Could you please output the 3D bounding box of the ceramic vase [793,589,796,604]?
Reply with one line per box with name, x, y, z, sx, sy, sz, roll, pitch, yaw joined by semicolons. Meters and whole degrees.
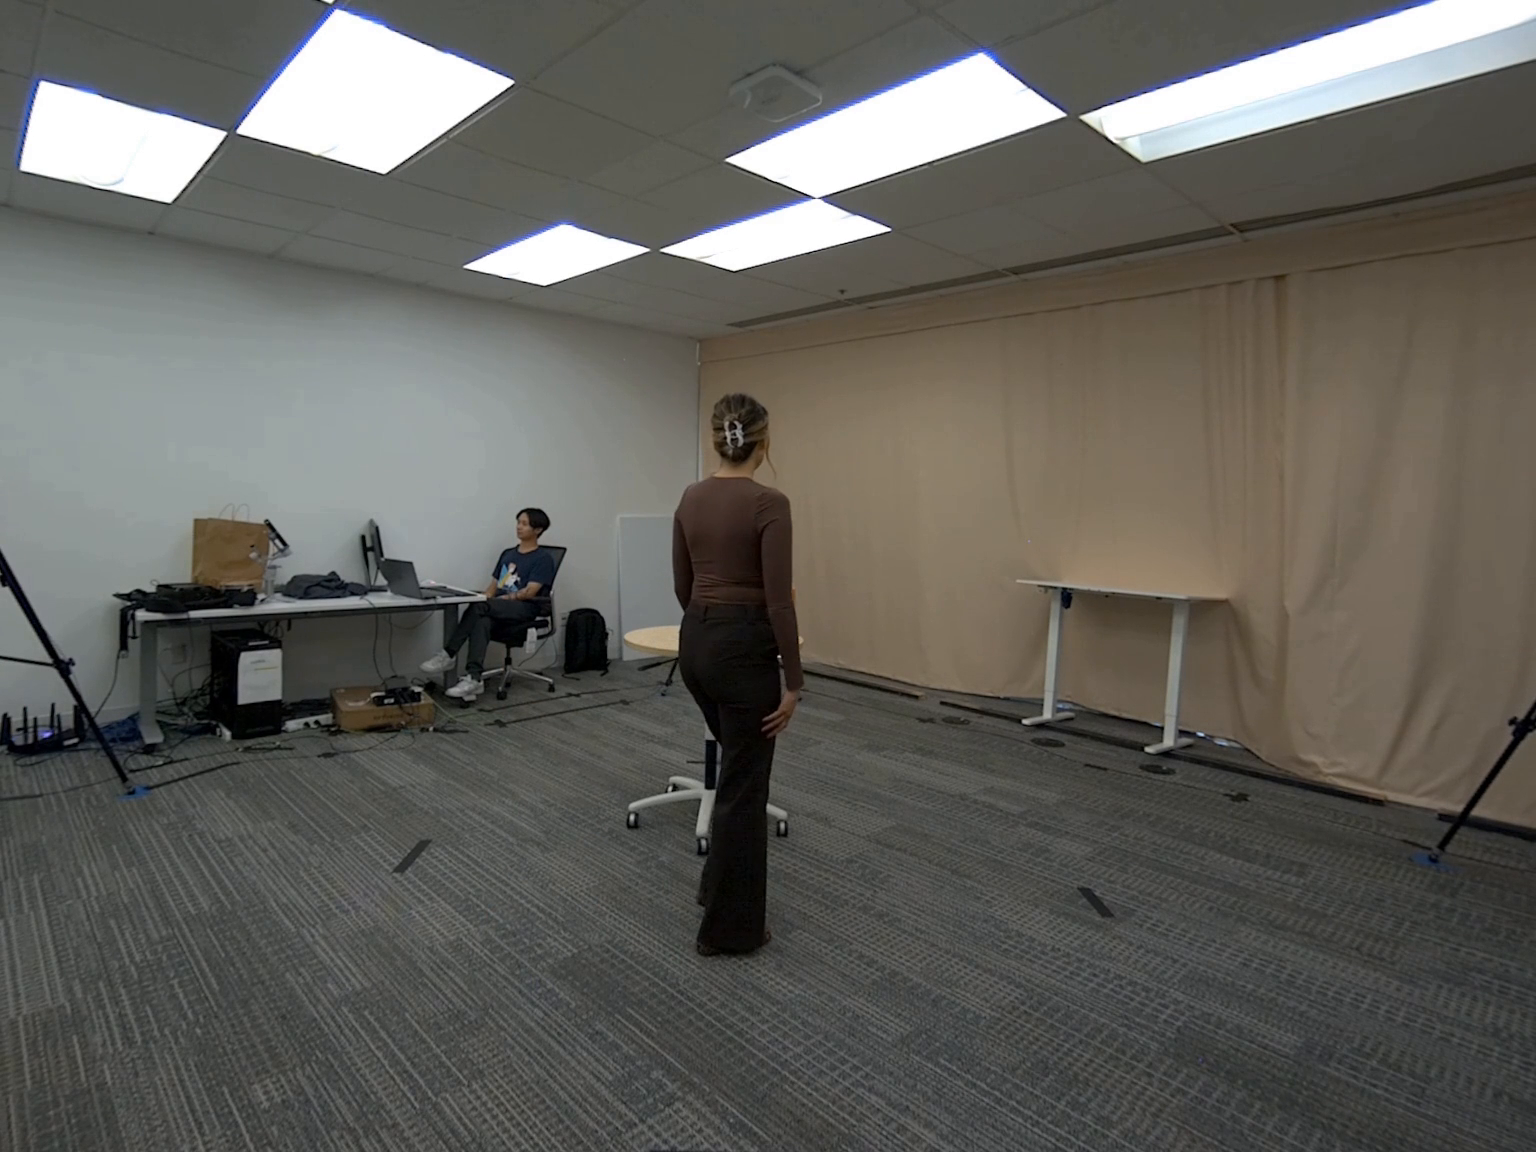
ceramic vase;0.040;0.160;3.584;0.138;0.219;0.155;4;4;43
